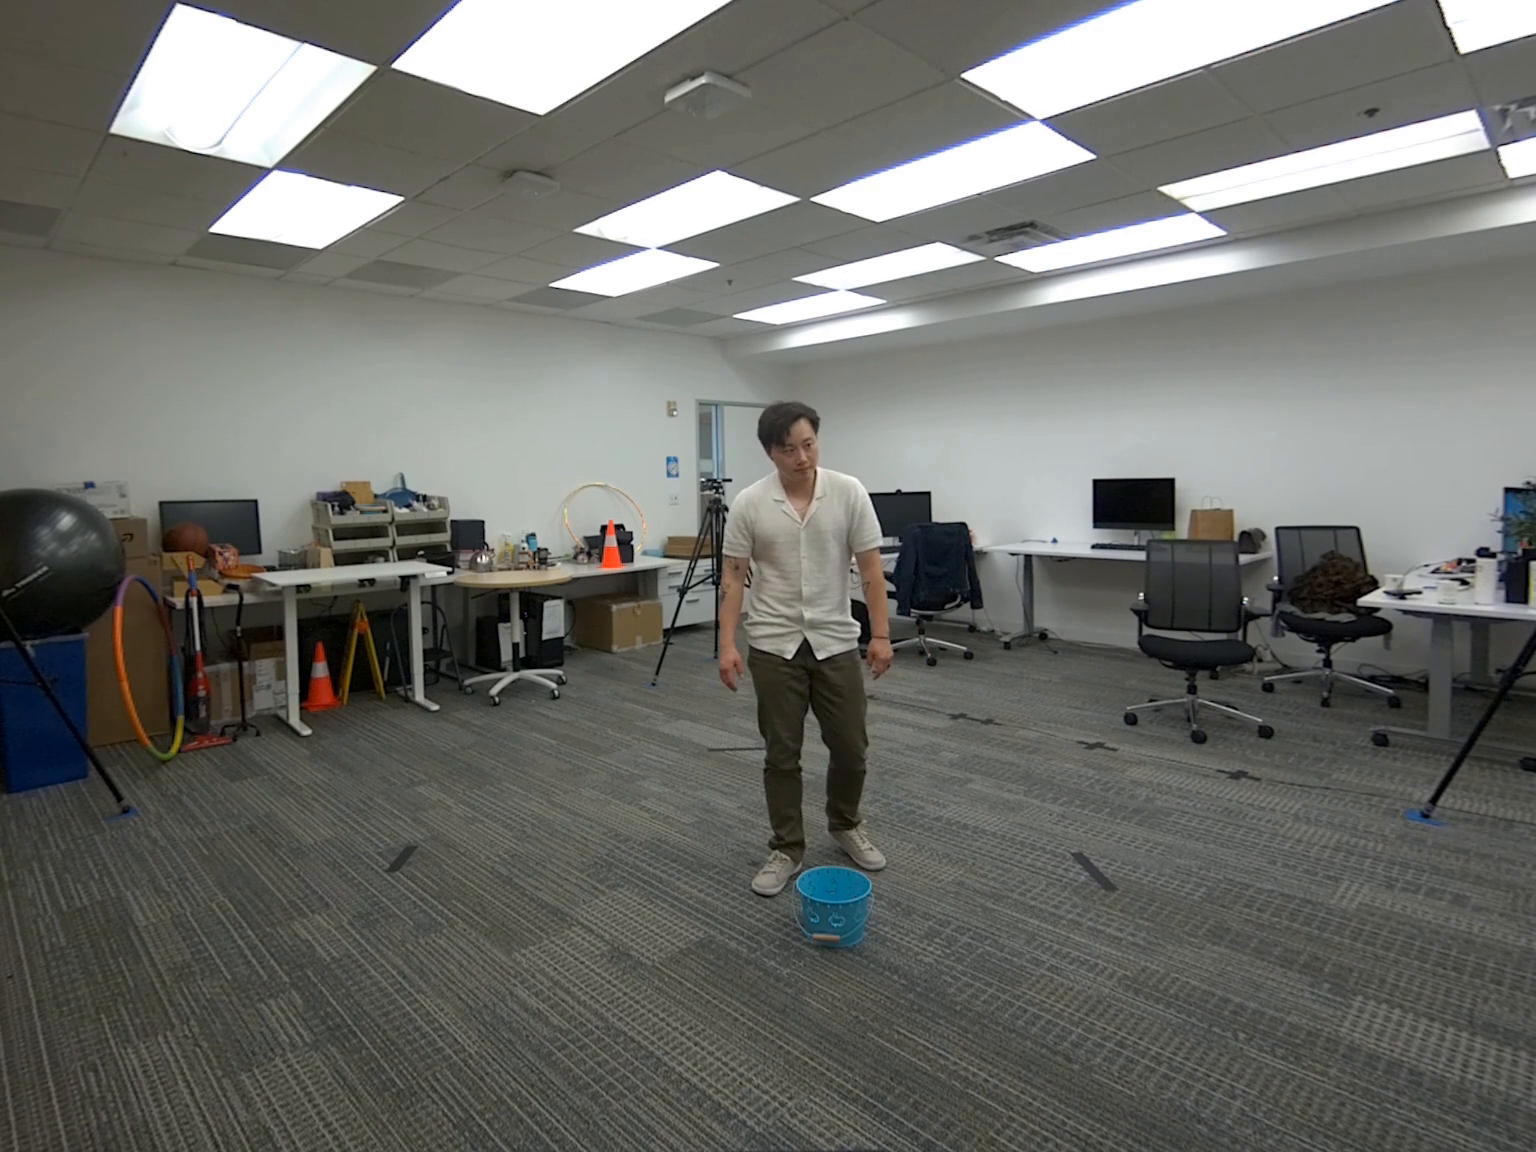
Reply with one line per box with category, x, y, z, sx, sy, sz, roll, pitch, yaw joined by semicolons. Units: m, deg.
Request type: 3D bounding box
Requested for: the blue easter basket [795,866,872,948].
blue easter basket;0.198;1.019;2.623;0.243;0.155;0.245;-1;6;-2
